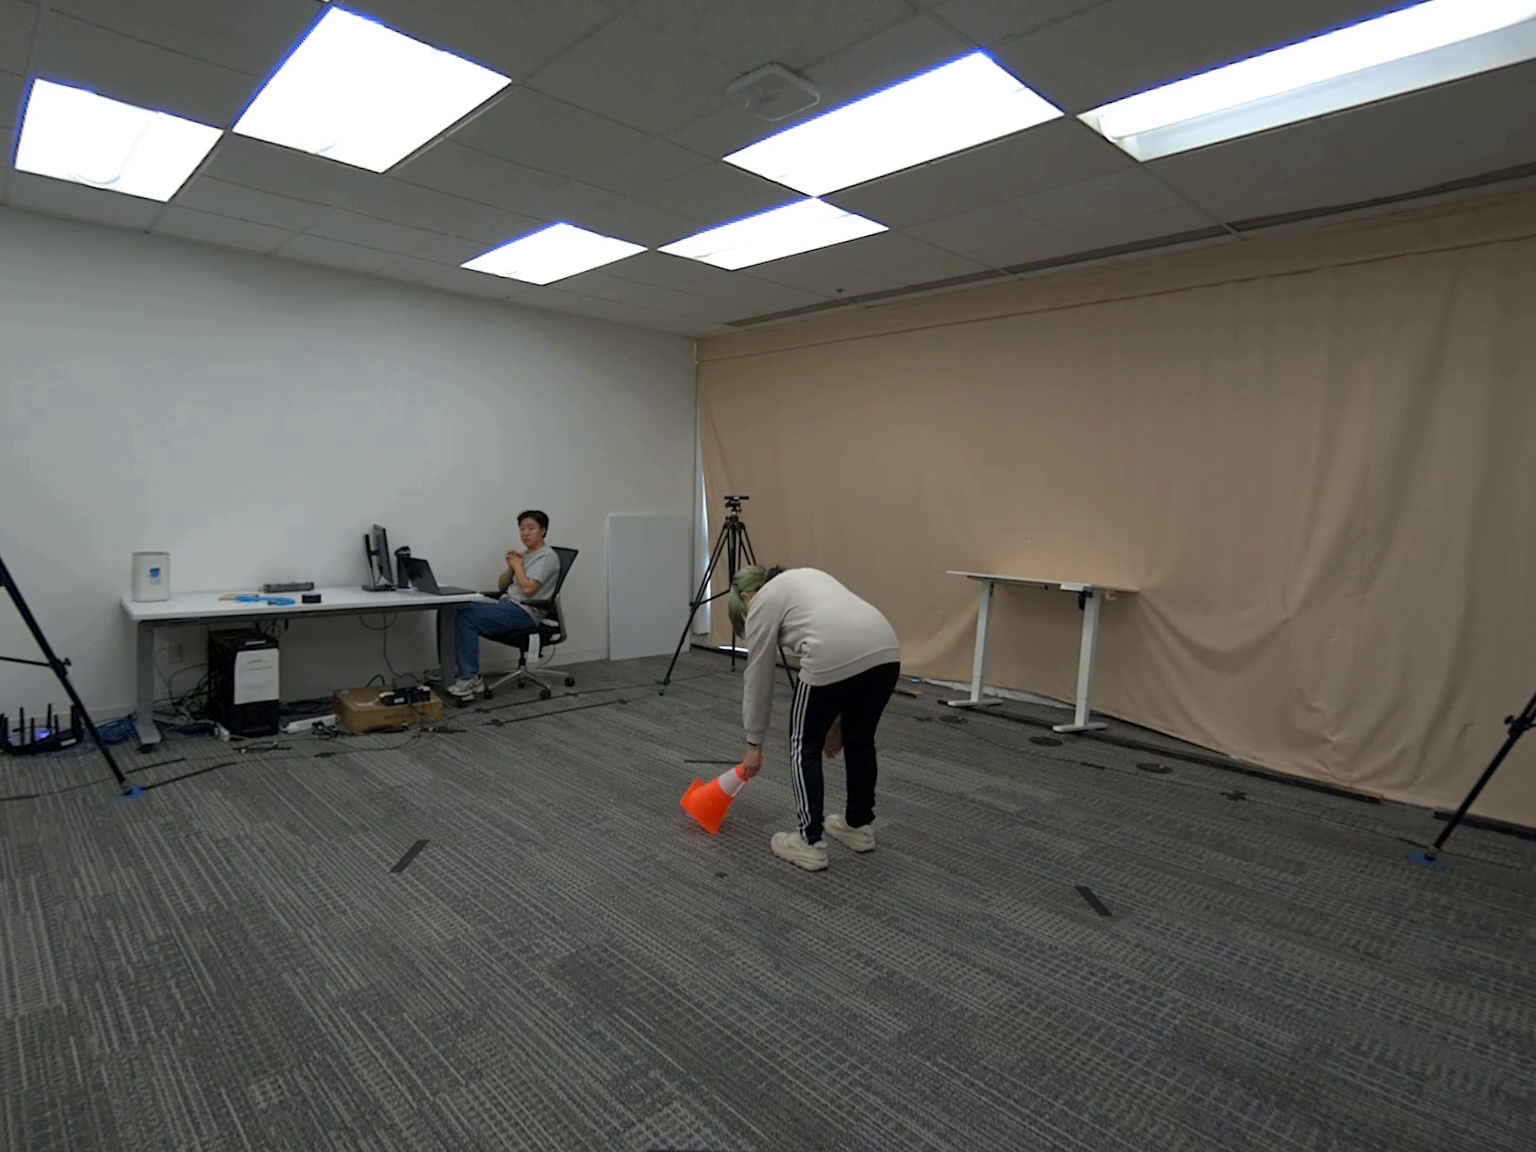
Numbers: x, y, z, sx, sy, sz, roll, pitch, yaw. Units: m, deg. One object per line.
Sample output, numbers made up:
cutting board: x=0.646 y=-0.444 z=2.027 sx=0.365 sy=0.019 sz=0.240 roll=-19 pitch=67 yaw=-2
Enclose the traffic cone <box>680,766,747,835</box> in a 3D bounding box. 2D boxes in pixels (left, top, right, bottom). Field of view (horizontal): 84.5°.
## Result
traffic cone: x=-0.155 y=0.859 z=3.496 sx=0.384 sy=0.205 sz=0.203 roll=-46 pitch=-6 yaw=24
